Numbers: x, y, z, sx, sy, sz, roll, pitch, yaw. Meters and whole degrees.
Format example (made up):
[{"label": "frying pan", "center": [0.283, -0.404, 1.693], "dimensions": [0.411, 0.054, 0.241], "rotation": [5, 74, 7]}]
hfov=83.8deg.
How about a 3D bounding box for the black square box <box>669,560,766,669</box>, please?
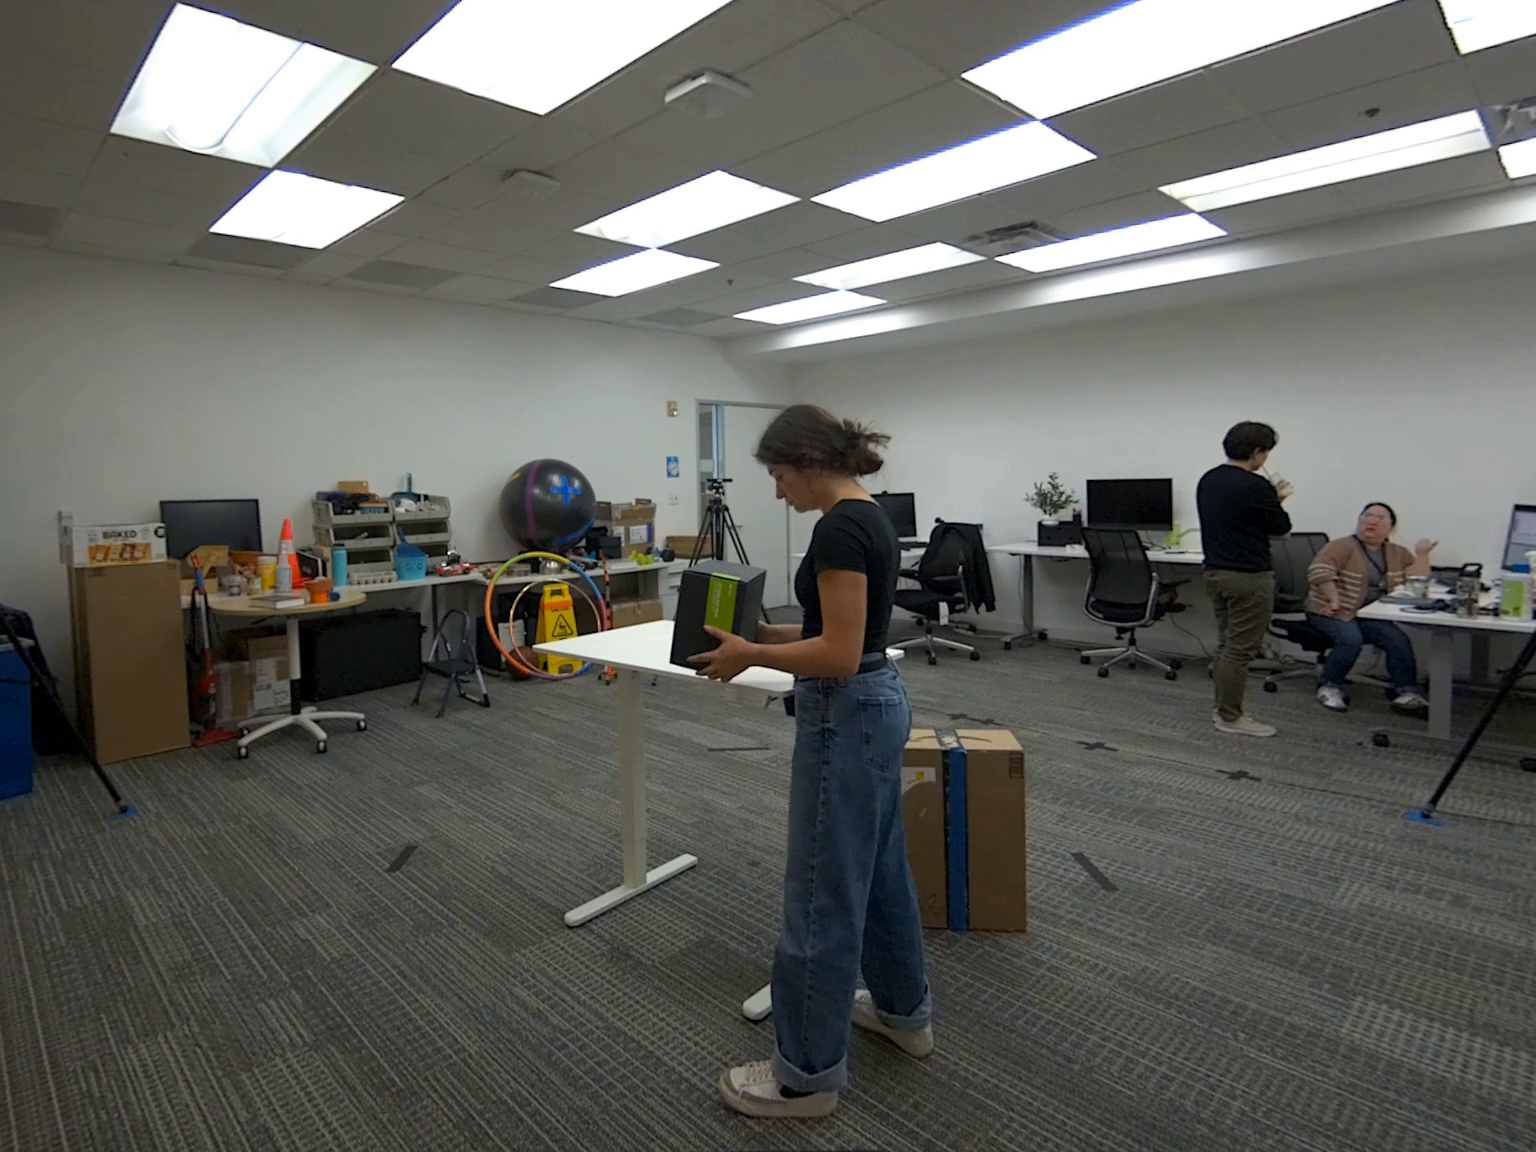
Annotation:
[{"label": "black square box", "center": [-0.101, 0.096, 2.017], "dimensions": [0.159, 0.226, 0.214], "rotation": [10, 9, 16]}]
